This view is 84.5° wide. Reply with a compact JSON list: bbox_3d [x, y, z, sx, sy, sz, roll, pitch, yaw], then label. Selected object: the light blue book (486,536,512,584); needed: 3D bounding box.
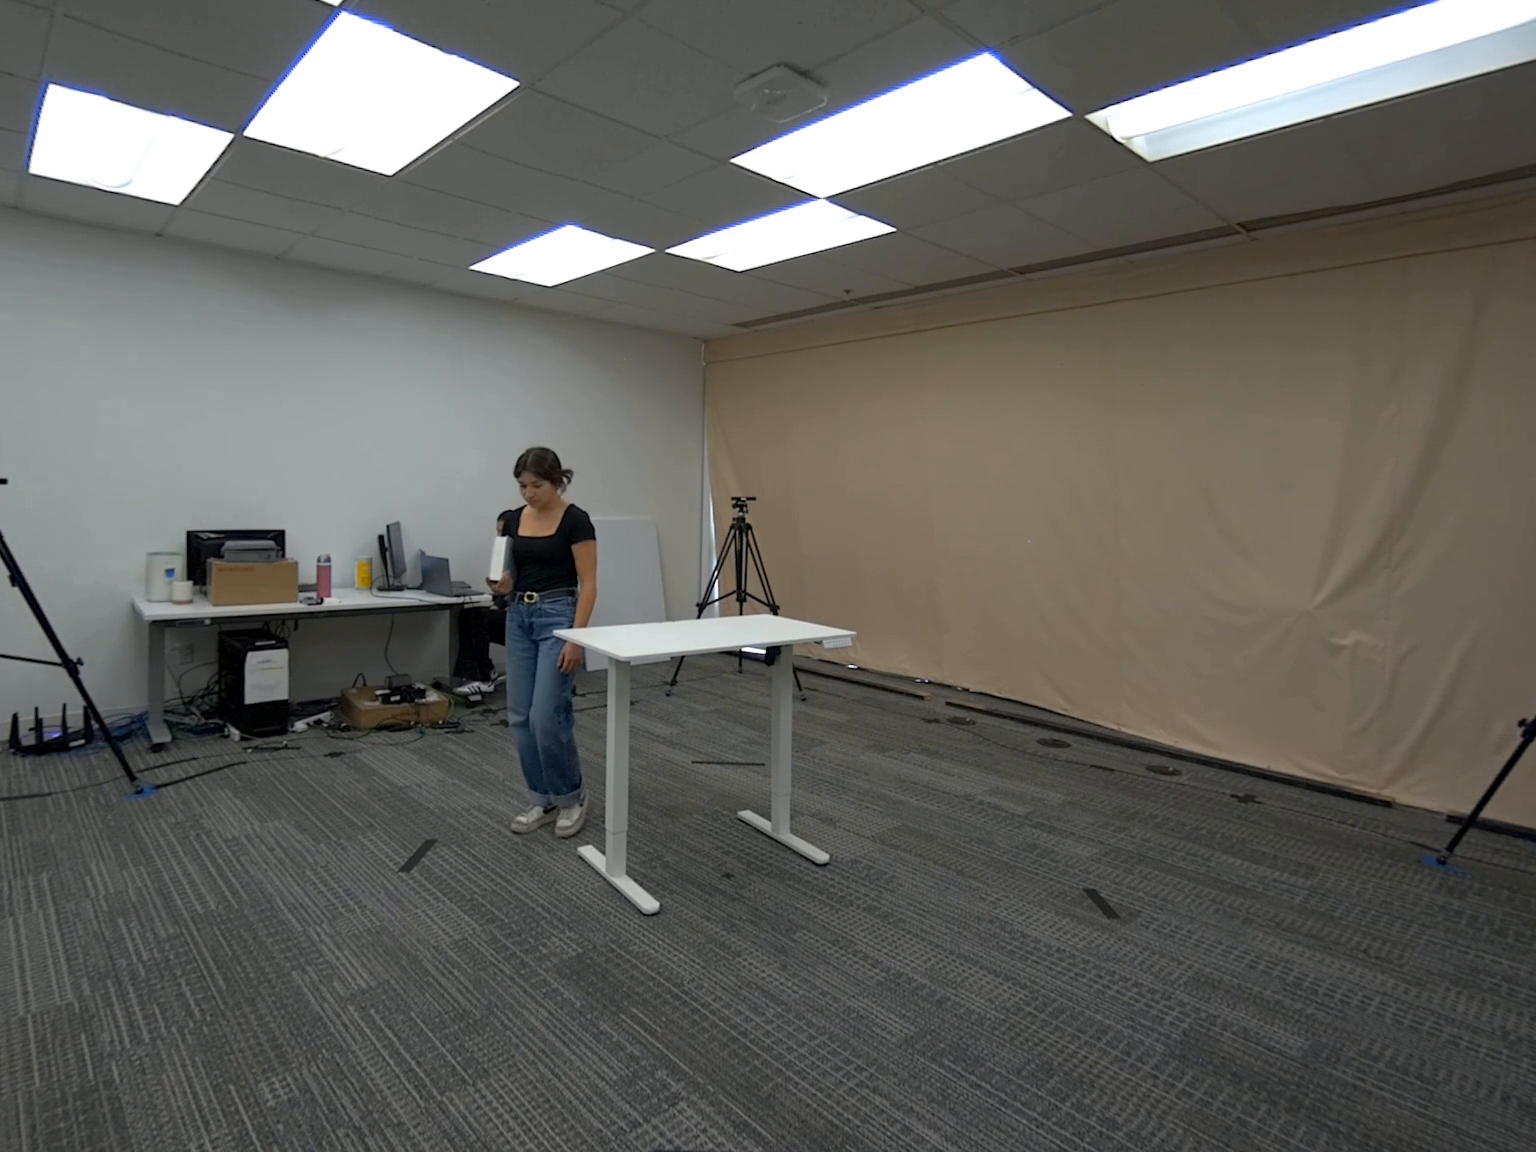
[{"bbox_3d":[-1.097,-0.047,3.546,0.059,0.193,0.256,2,-13,8],"label":"light blue book"}]
